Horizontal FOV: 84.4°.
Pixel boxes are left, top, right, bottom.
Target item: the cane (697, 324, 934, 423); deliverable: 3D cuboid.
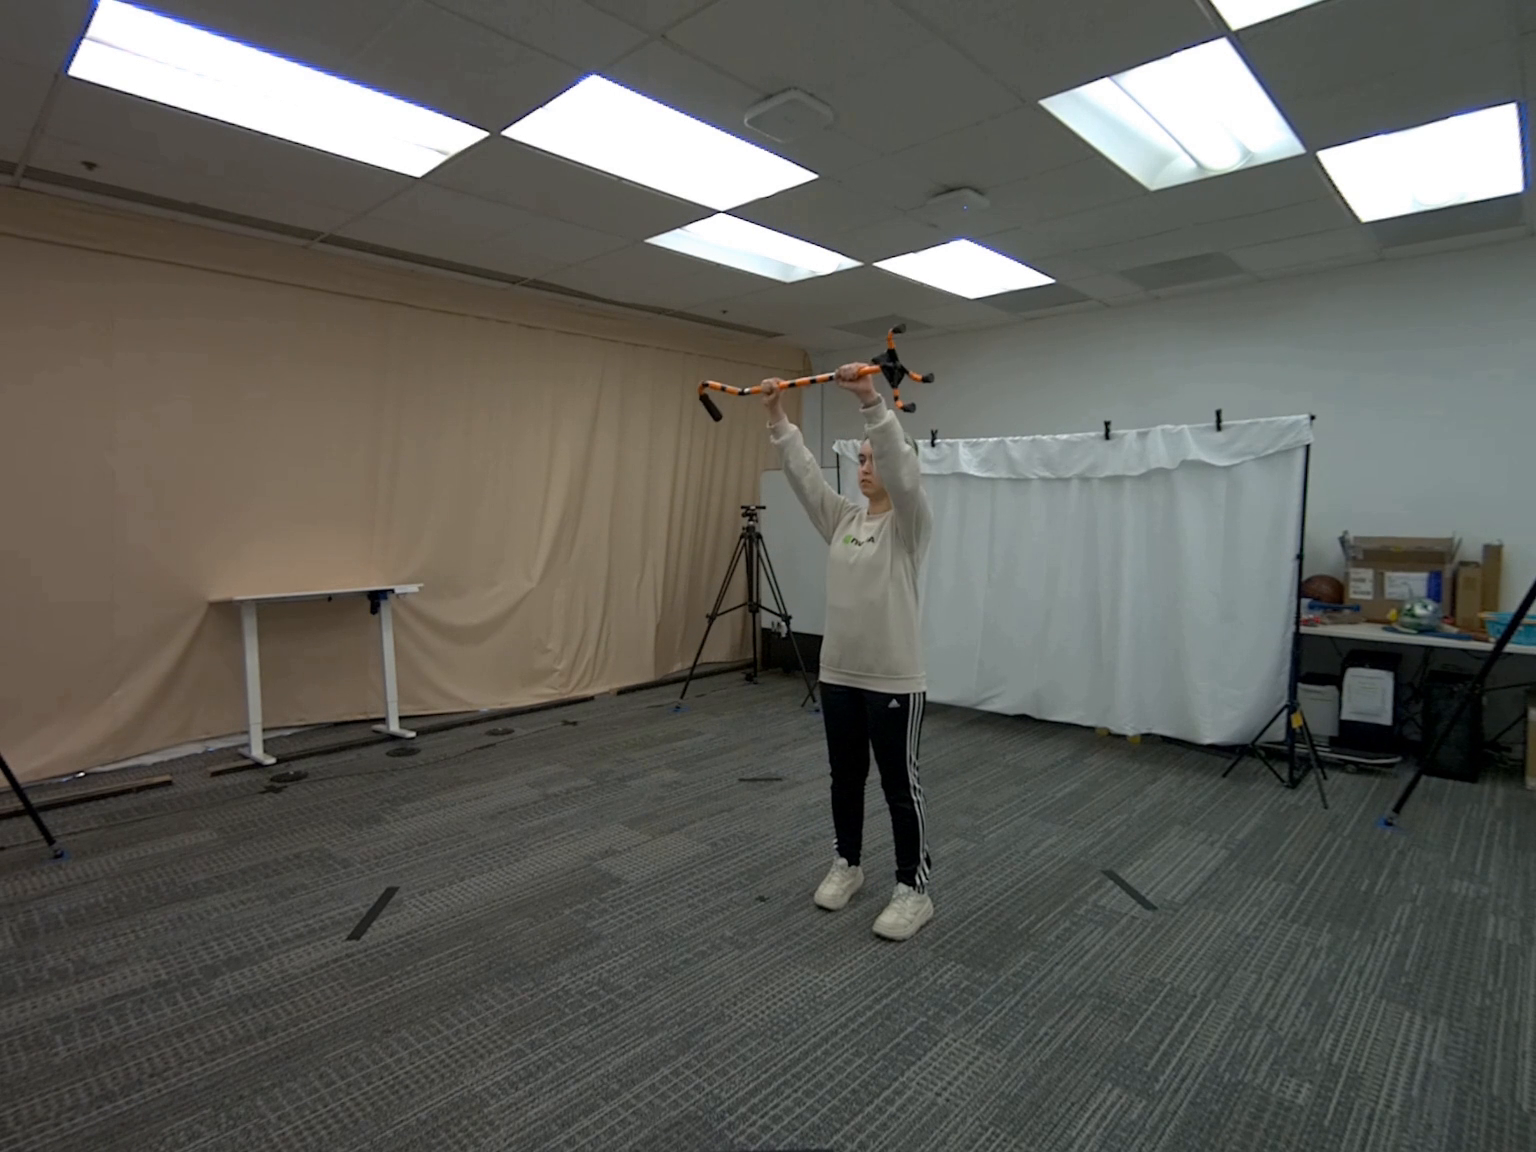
[{"bbox_3d":[0.073,-0.591,2.642,0.938,0.151,0.200,5,-40,49],"label":"cane"}]
